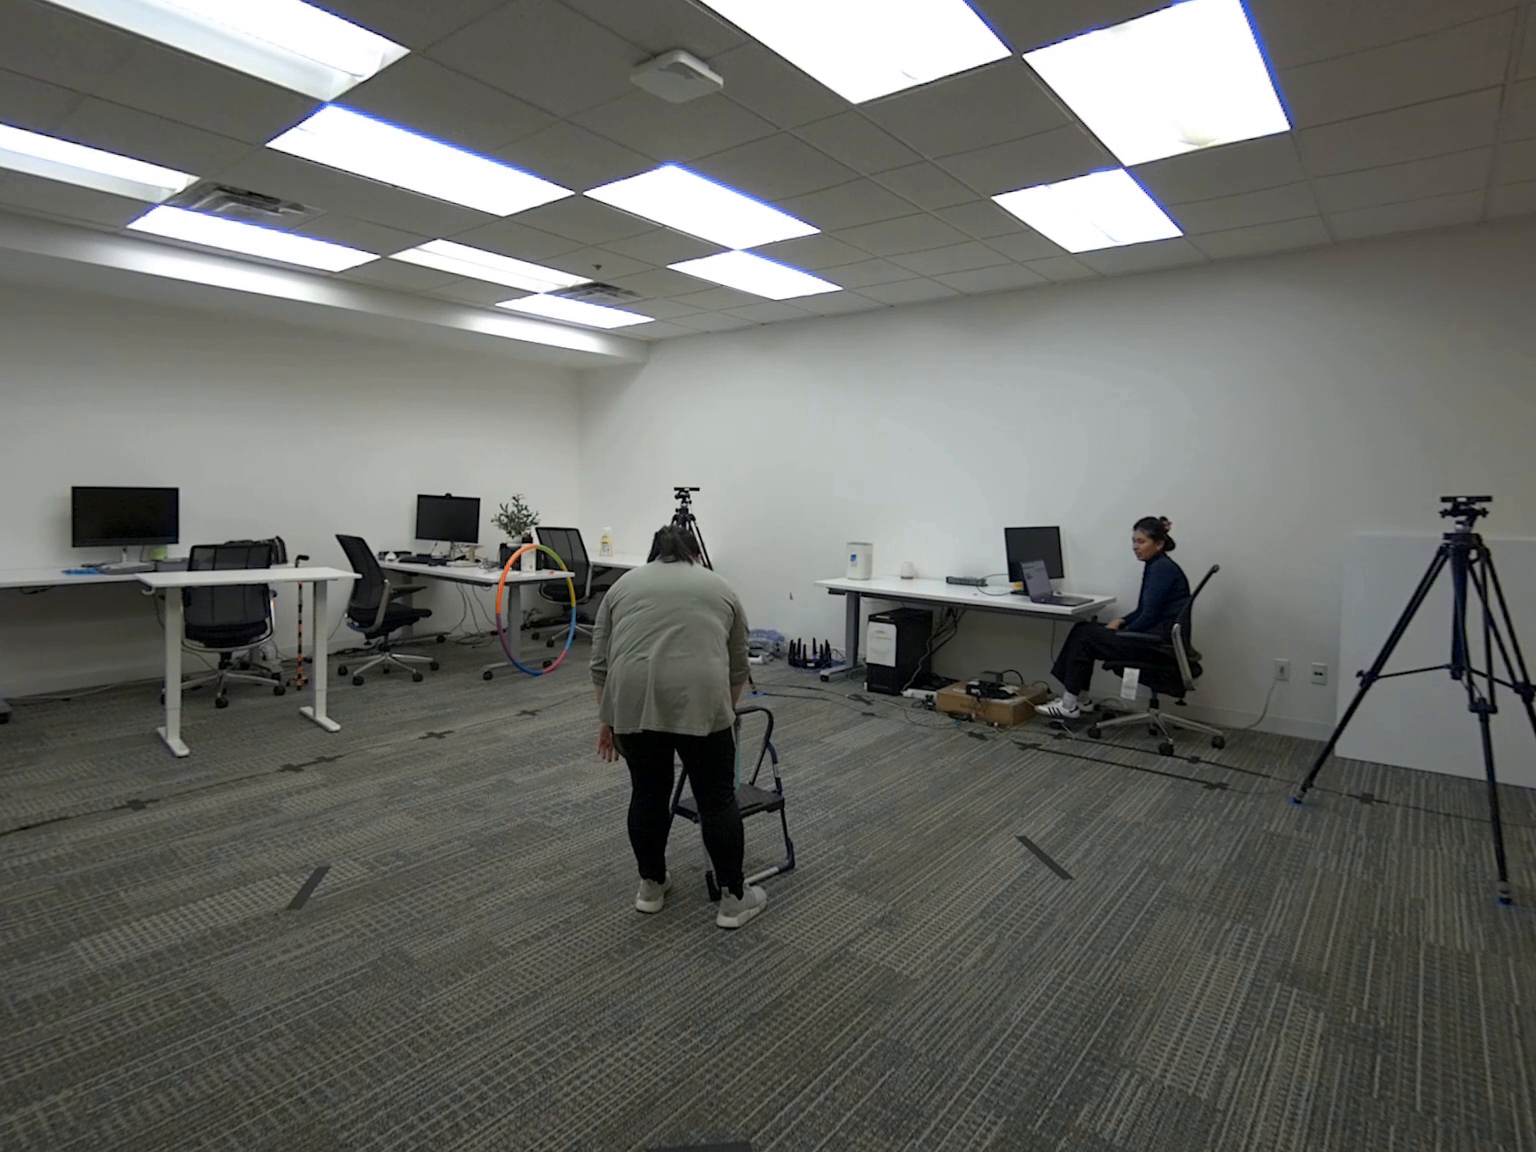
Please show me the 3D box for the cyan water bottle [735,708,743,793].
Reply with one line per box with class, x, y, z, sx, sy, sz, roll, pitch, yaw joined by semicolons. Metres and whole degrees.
cyan water bottle;-0.147;0.635;3.091;0.092;0.284;0.092;2;-1;-2
